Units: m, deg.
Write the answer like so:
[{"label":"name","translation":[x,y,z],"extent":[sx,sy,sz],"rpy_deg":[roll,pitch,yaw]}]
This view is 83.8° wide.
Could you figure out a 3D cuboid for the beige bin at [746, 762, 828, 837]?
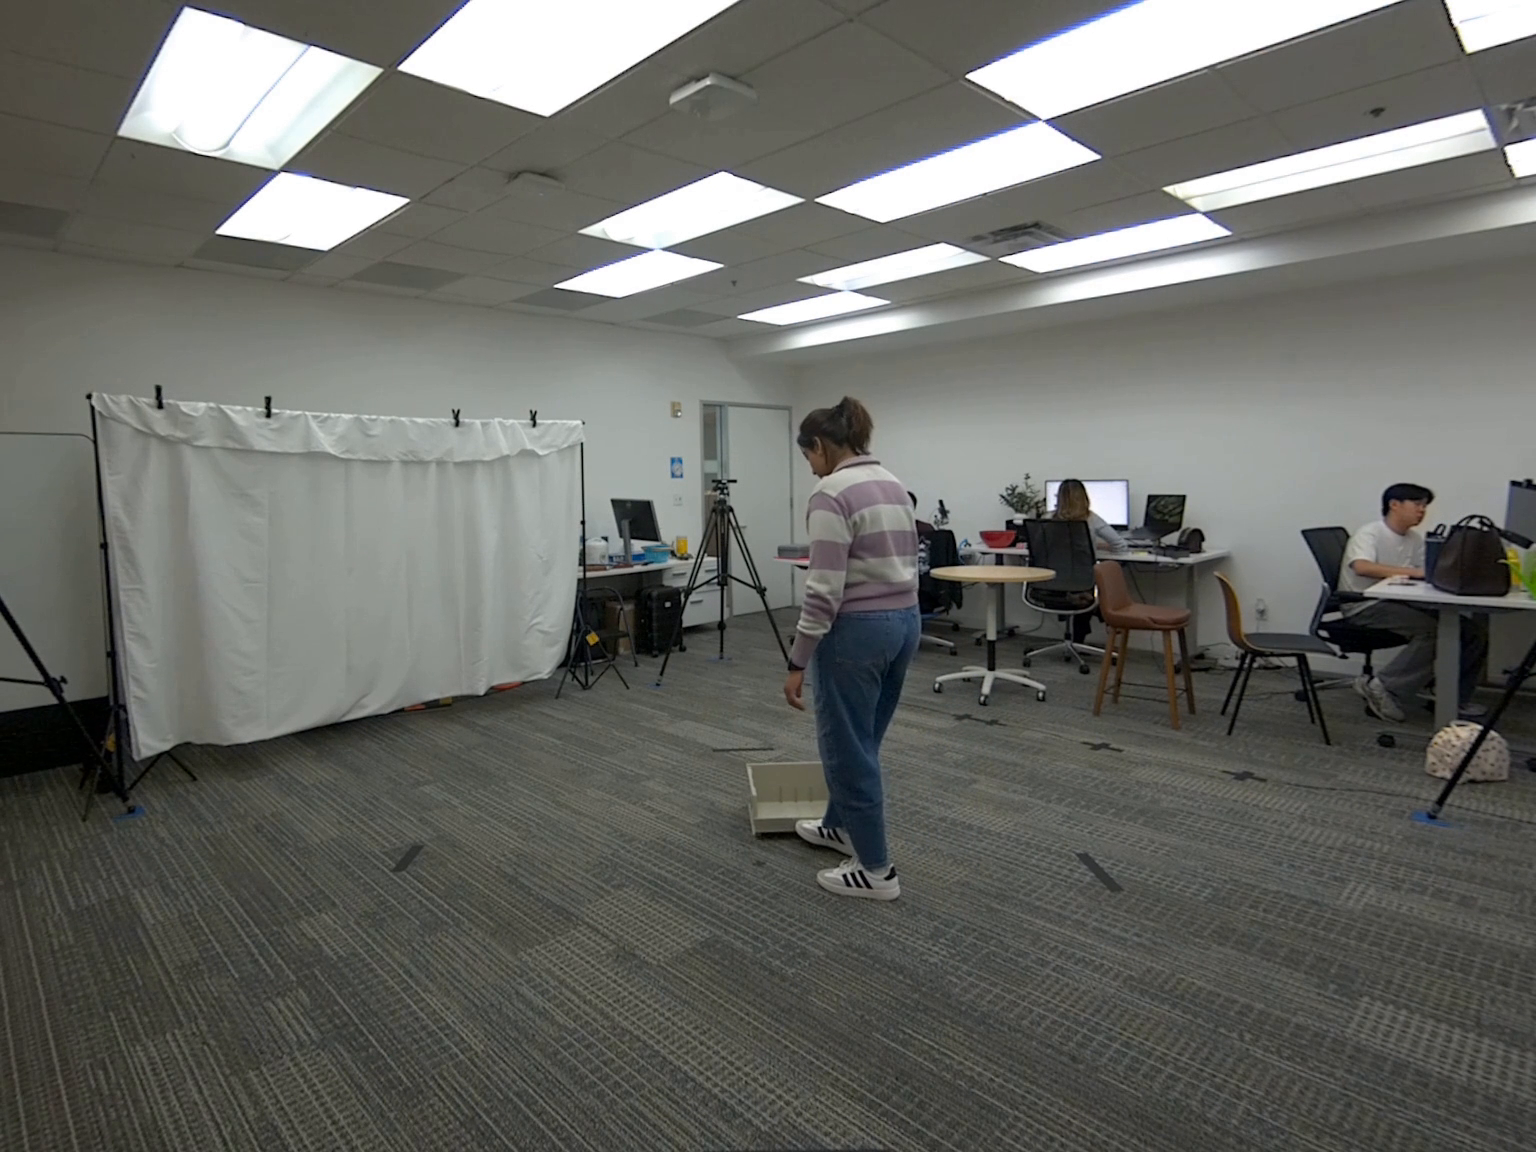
[{"label":"beige bin","translation":[0.135,0.917,3.500],"extent":[0.421,0.188,0.380],"rpy_deg":[-2,5,-4]}]
